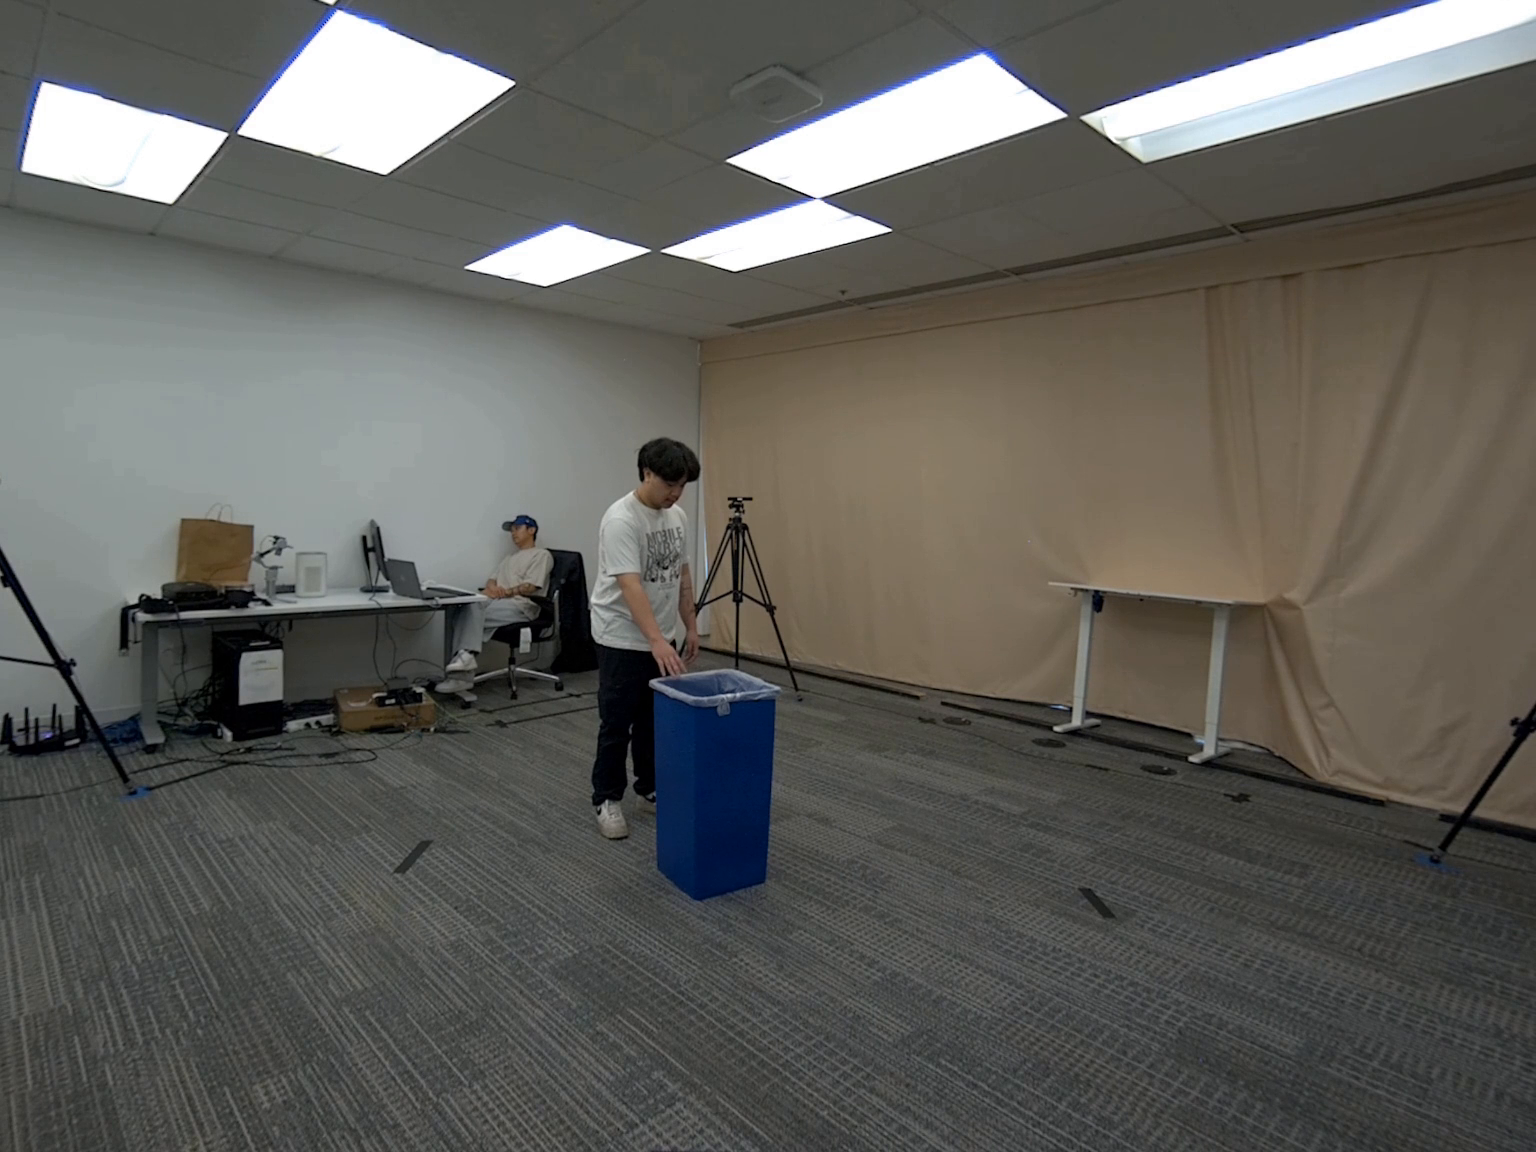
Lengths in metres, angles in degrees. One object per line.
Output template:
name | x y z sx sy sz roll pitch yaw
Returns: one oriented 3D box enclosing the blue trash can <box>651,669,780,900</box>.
blue trash can | -0.215 0.748 3.095 0.370 0.712 0.383 -1 4 -34
